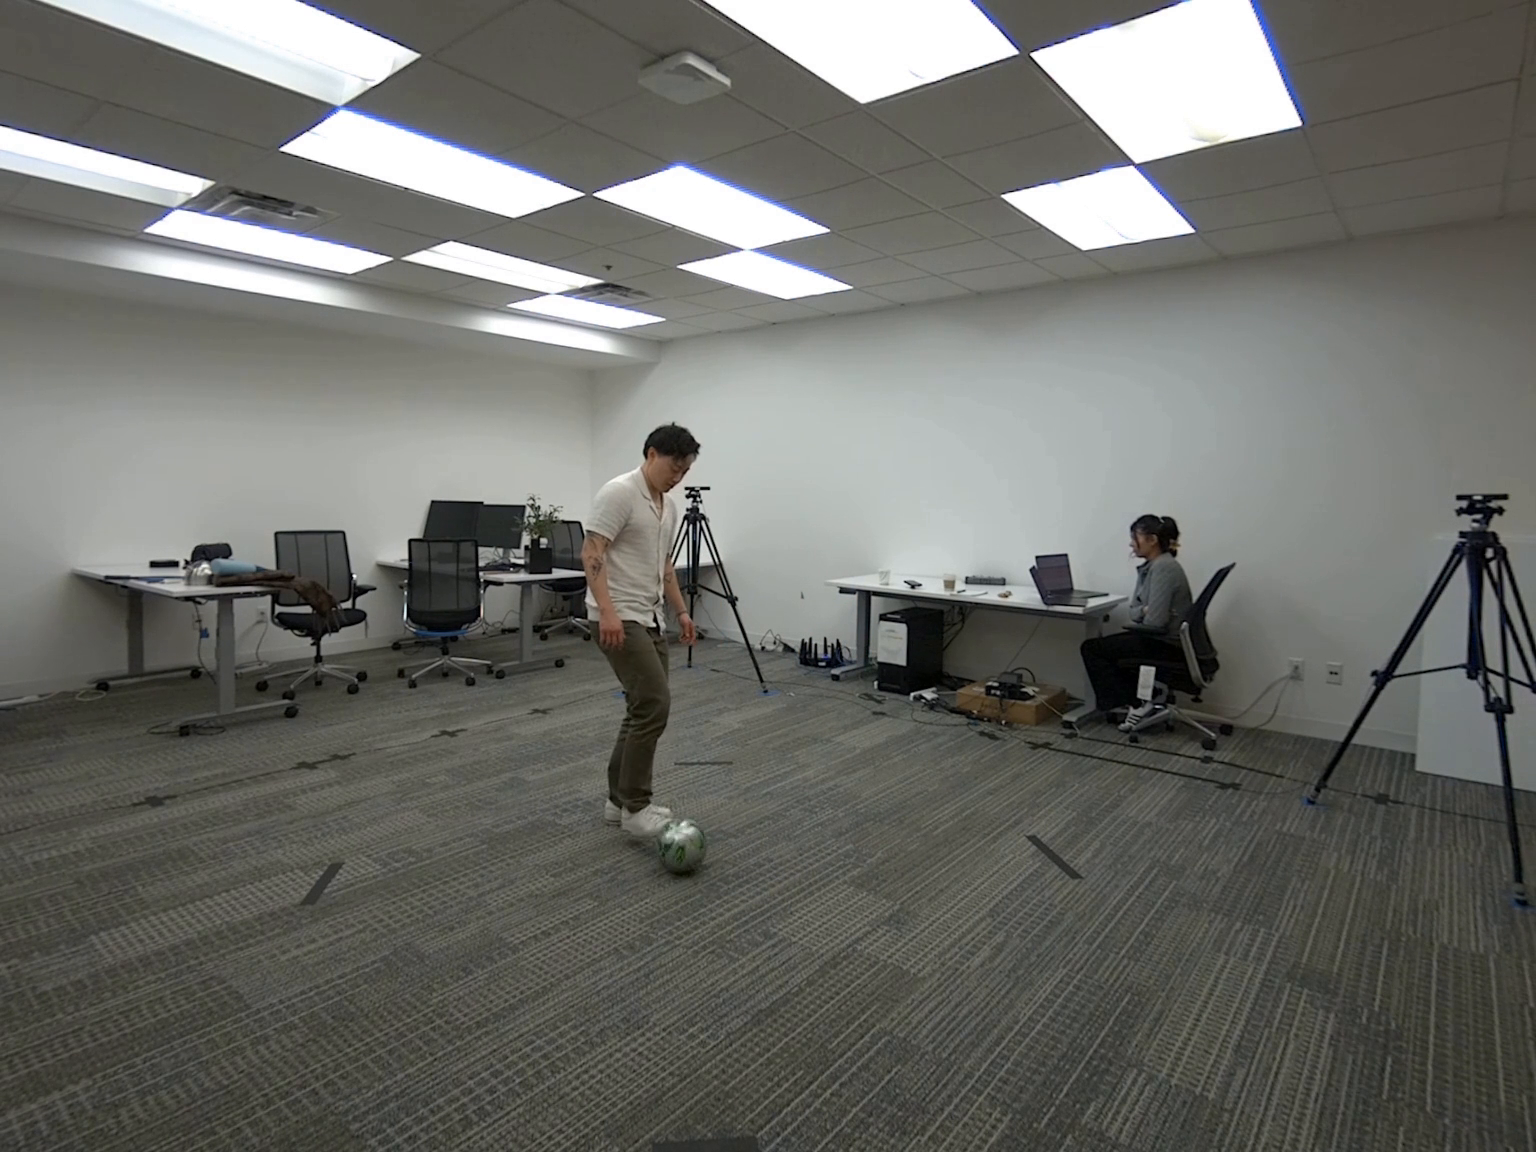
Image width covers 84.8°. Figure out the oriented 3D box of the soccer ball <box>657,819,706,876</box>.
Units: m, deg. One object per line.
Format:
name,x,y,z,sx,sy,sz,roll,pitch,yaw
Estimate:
soccer ball,-0.324,0.972,3.078,0.187,0.187,0.188,1,4,-2
